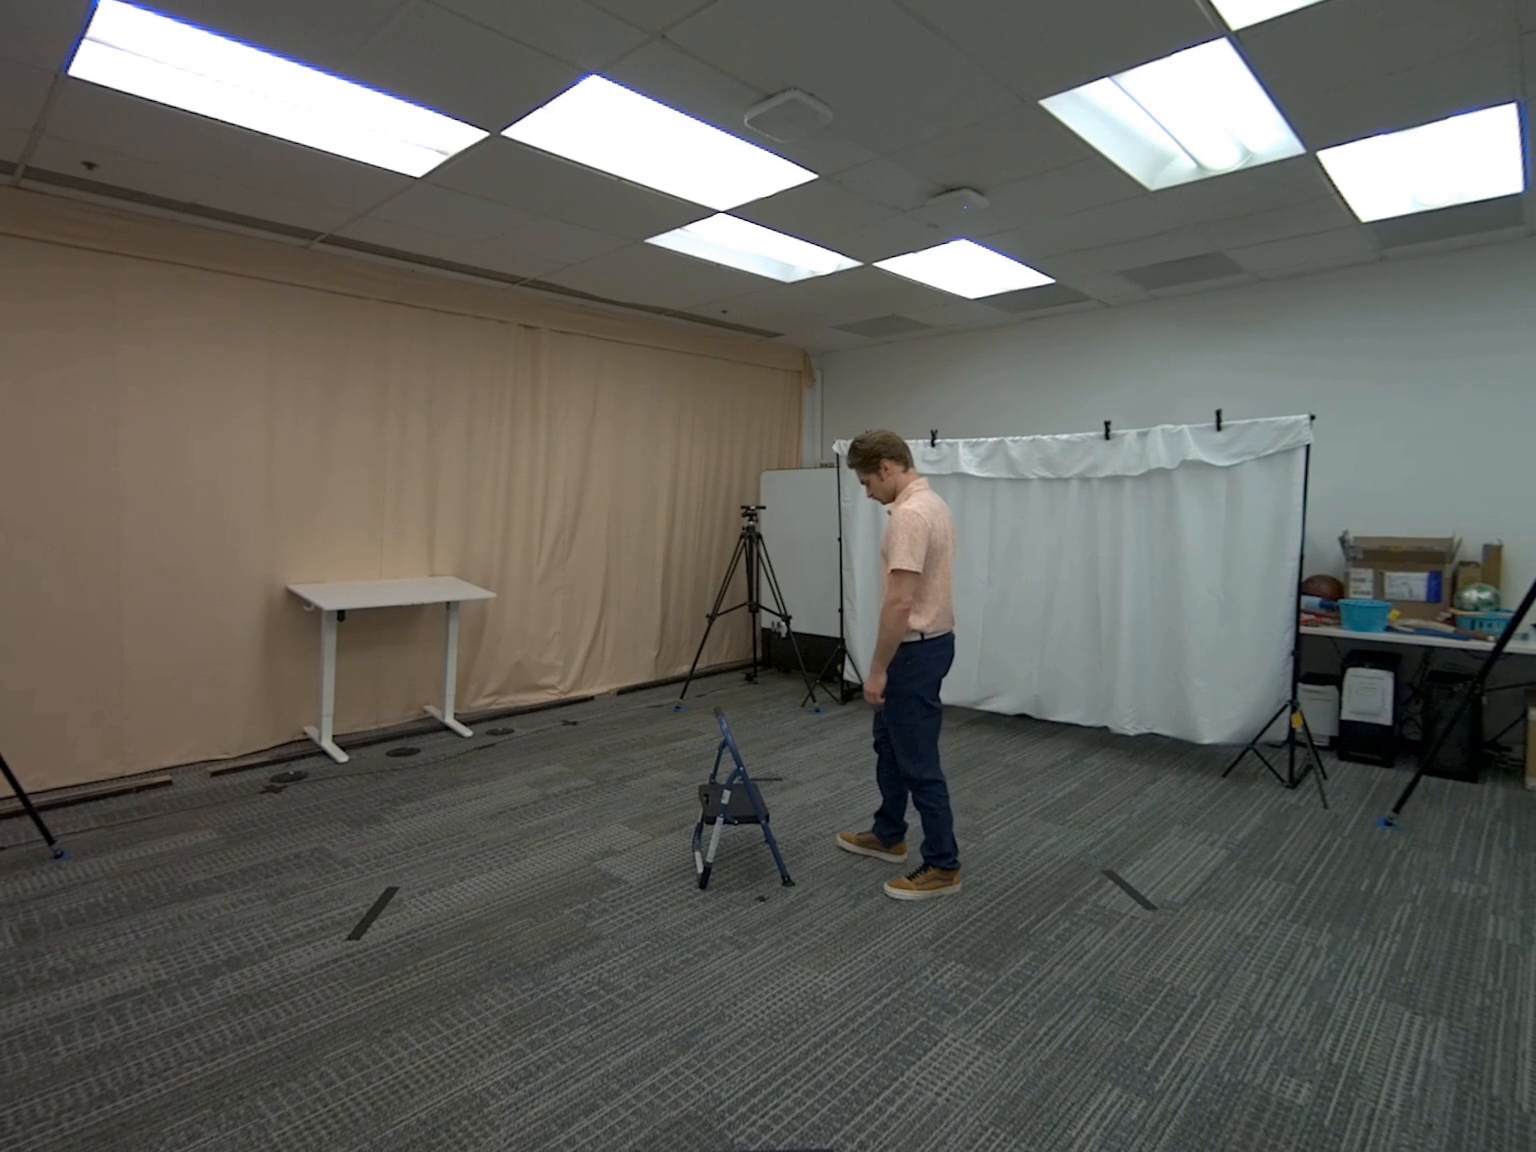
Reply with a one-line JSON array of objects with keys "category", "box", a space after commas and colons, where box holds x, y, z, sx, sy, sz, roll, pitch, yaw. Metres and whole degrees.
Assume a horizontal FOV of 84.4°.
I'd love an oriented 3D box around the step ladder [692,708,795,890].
[{"category": "step ladder", "box": [-0.116, 0.821, 3.263, 0.347, 0.605, 0.435, -2, 3, -8]}]
